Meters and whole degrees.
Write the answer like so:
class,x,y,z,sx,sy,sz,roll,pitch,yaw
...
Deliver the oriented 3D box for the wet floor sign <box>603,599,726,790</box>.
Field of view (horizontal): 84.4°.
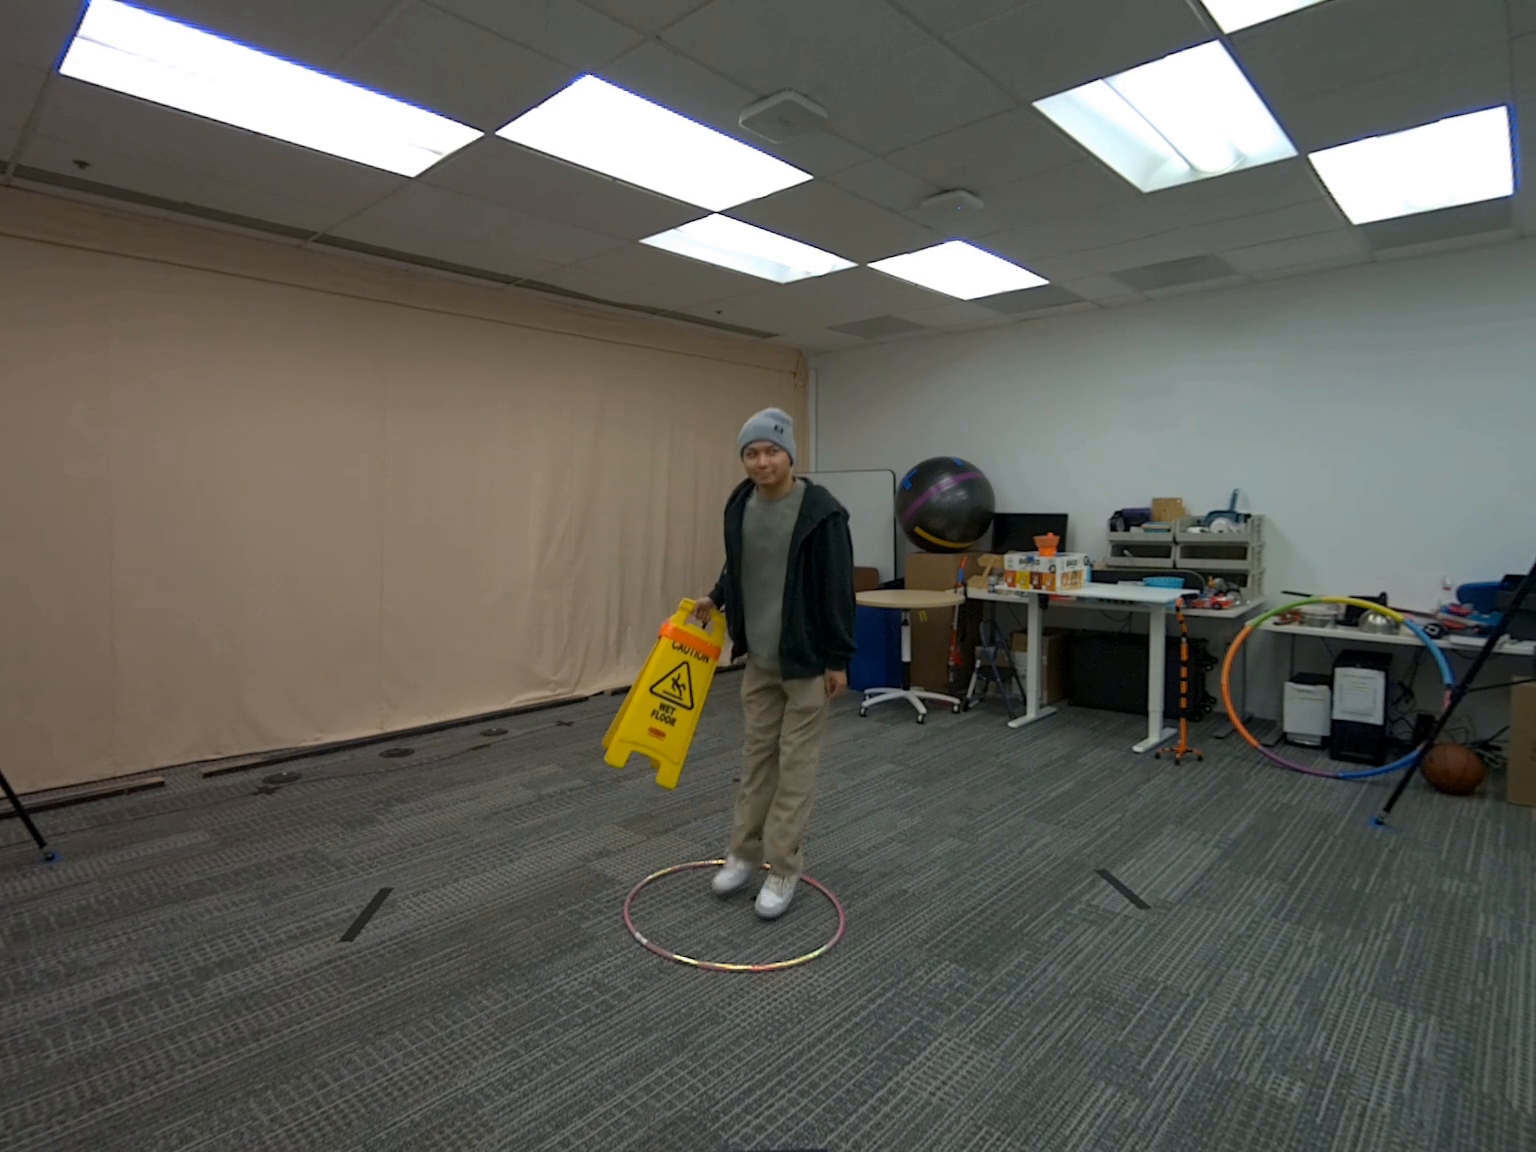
class,x,y,z,sx,sy,sz,roll,pitch,yaw
wet floor sign,-0.352,0.438,3.170,0.279,0.646,0.293,21,-4,-12
